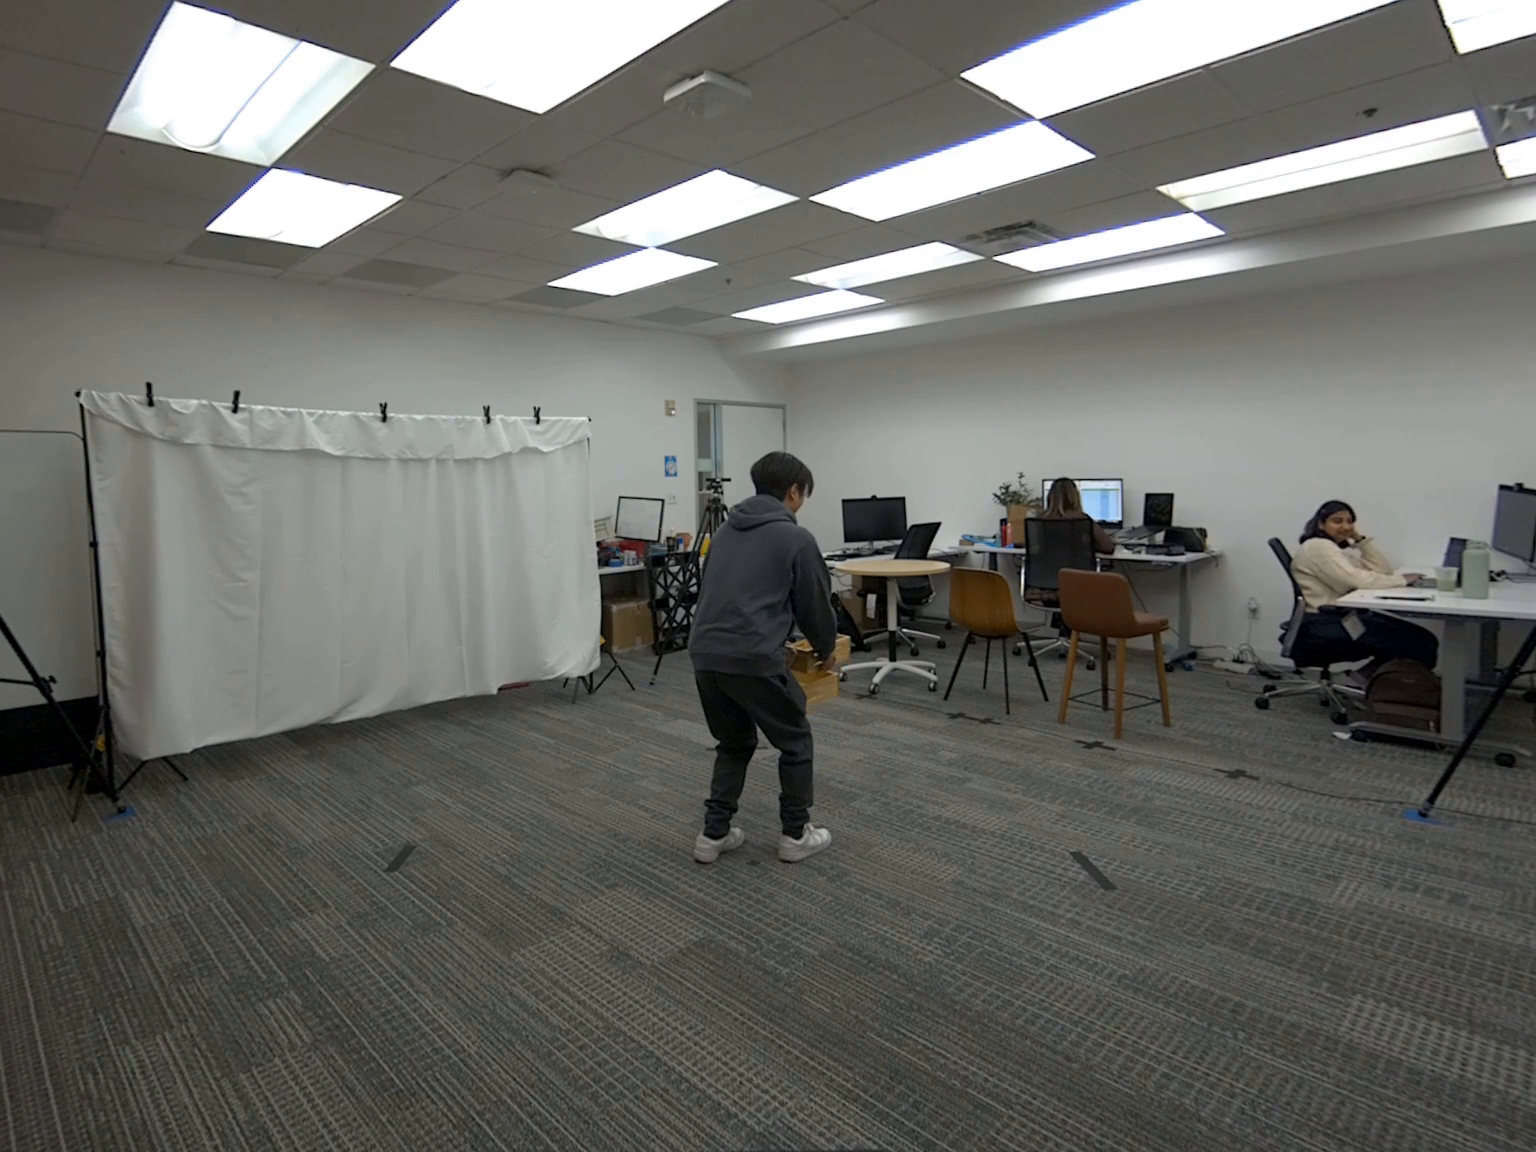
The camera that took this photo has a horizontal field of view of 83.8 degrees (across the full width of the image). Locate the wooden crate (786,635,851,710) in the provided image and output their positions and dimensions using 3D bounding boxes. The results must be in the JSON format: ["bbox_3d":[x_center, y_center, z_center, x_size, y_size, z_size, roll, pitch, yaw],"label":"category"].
[{"bbox_3d":[0.128,0.374,3.521,0.312,0.271,0.317,9,13,40],"label":"wooden crate"}]
